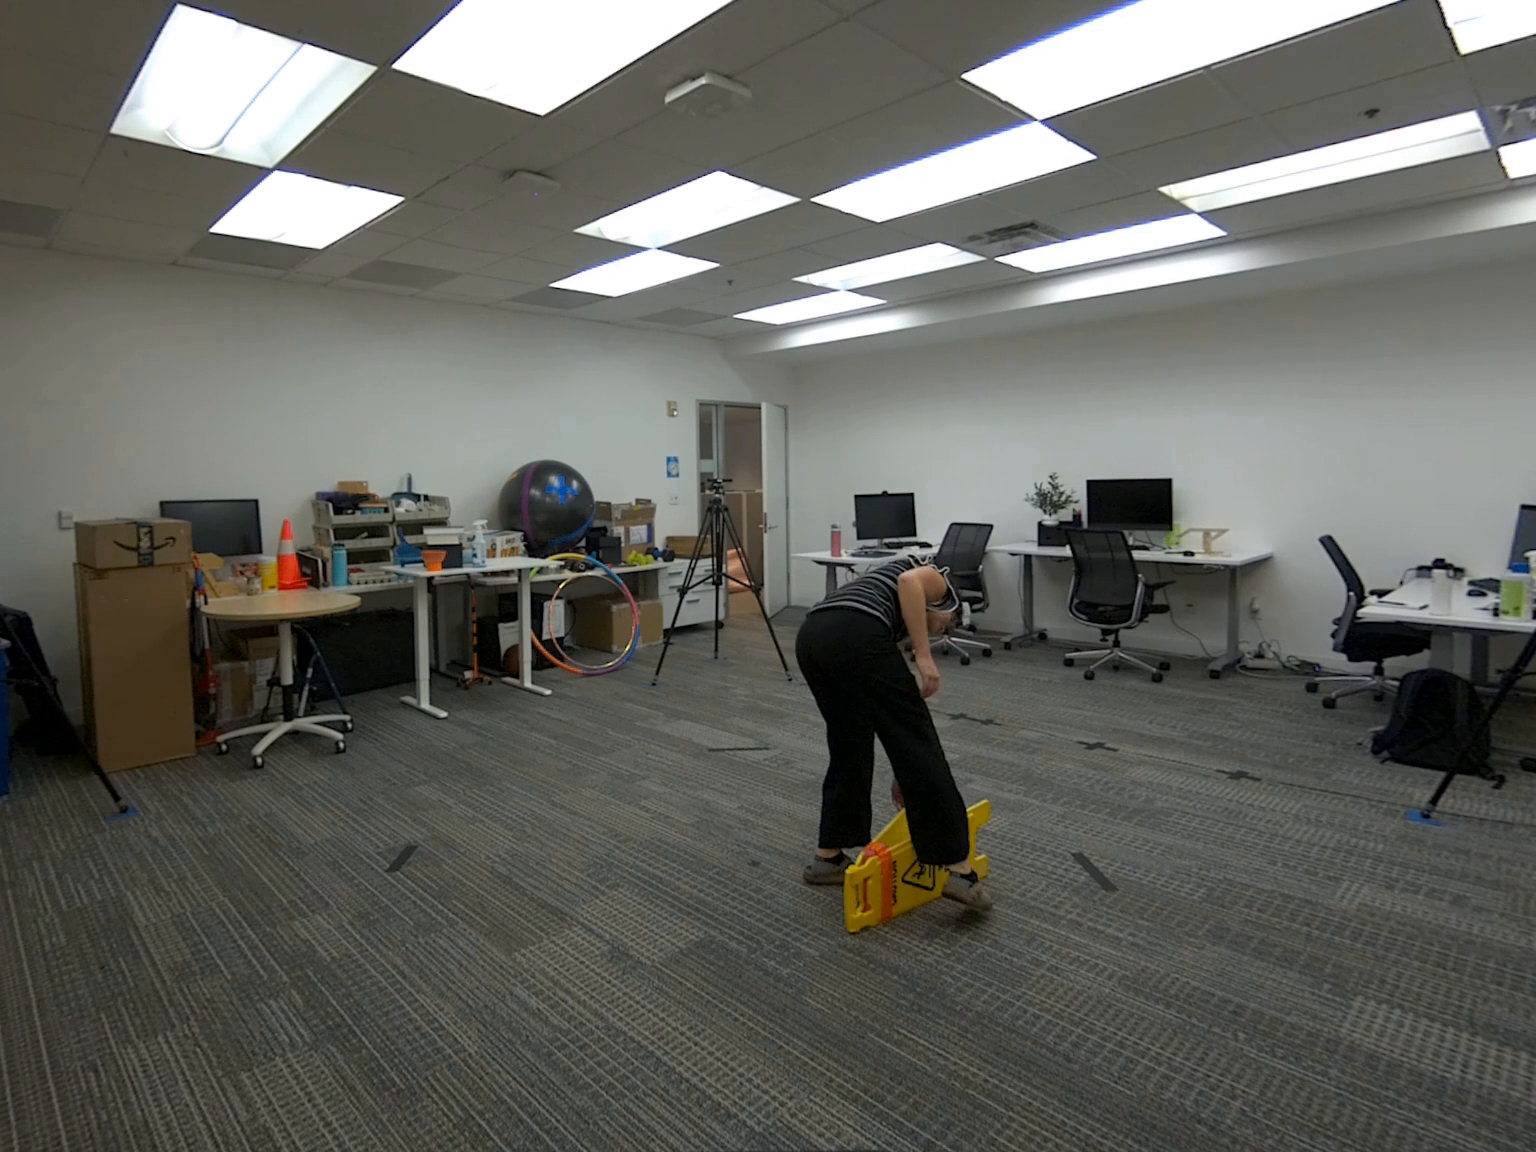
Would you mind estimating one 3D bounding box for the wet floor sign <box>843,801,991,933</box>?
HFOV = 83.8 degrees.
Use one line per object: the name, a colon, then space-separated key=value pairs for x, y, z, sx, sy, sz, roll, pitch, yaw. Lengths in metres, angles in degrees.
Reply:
wet floor sign: x=0.464 y=0.946 z=2.819 sx=0.299 sy=0.280 sz=0.631 roll=6 pitch=12 yaw=42
